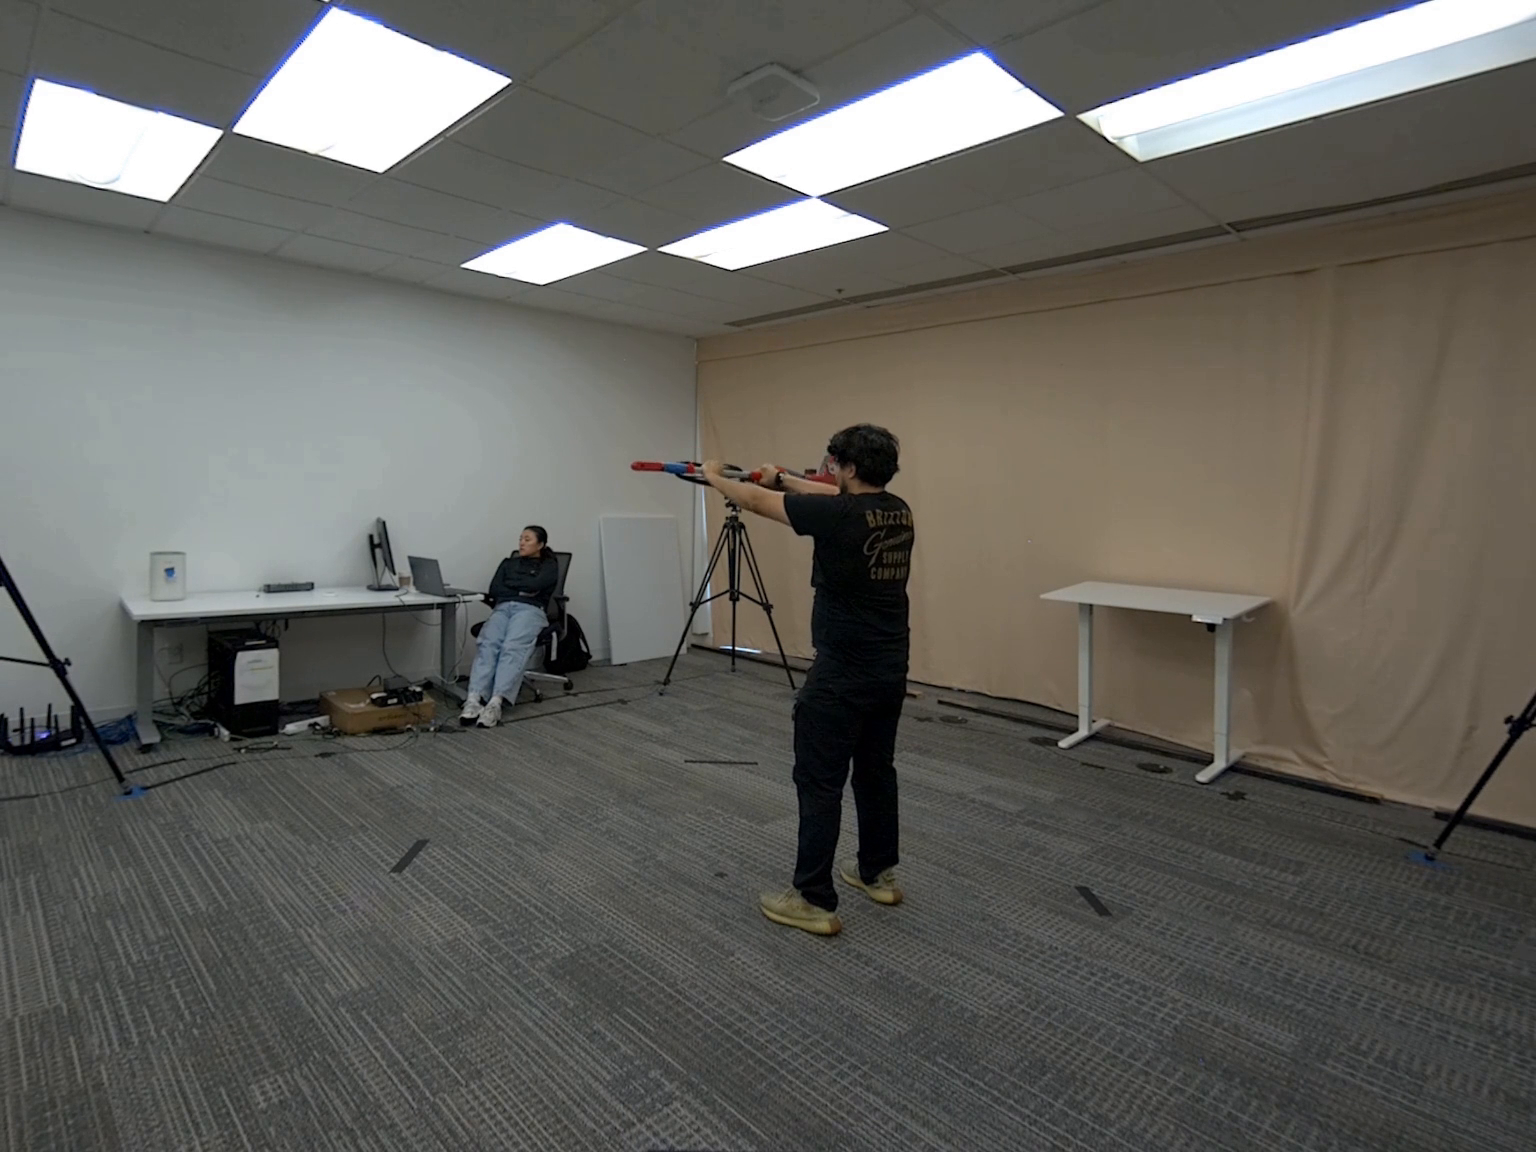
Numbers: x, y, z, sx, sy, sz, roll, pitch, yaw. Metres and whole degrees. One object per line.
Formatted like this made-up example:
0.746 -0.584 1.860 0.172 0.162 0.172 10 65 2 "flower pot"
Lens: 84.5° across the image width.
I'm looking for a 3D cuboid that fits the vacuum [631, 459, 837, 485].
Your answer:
-0.110 -0.380 3.245 0.148 0.252 1.025 9 7 41 "vacuum"
